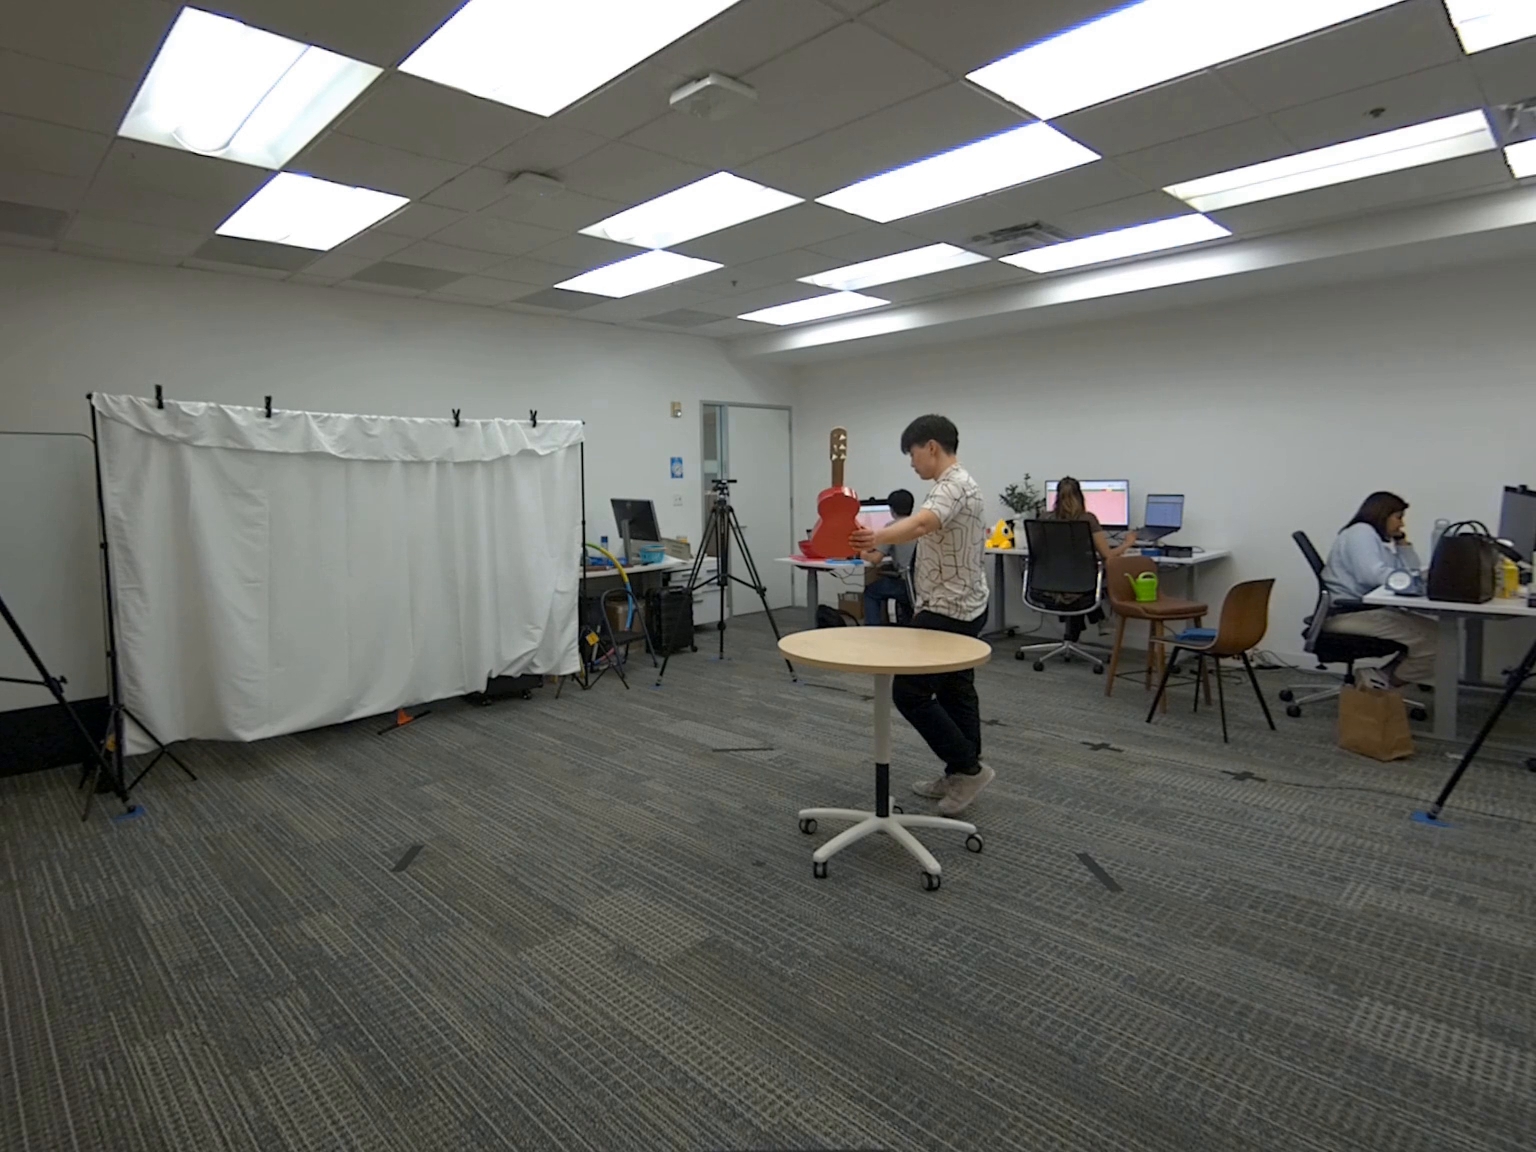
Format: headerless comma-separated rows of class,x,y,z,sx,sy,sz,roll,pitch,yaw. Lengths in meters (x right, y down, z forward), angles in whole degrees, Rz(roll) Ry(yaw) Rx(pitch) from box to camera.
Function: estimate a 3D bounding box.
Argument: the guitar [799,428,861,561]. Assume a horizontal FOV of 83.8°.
guitar,0.216,-0.286,3.004,0.194,0.483,0.072,-9,32,5
